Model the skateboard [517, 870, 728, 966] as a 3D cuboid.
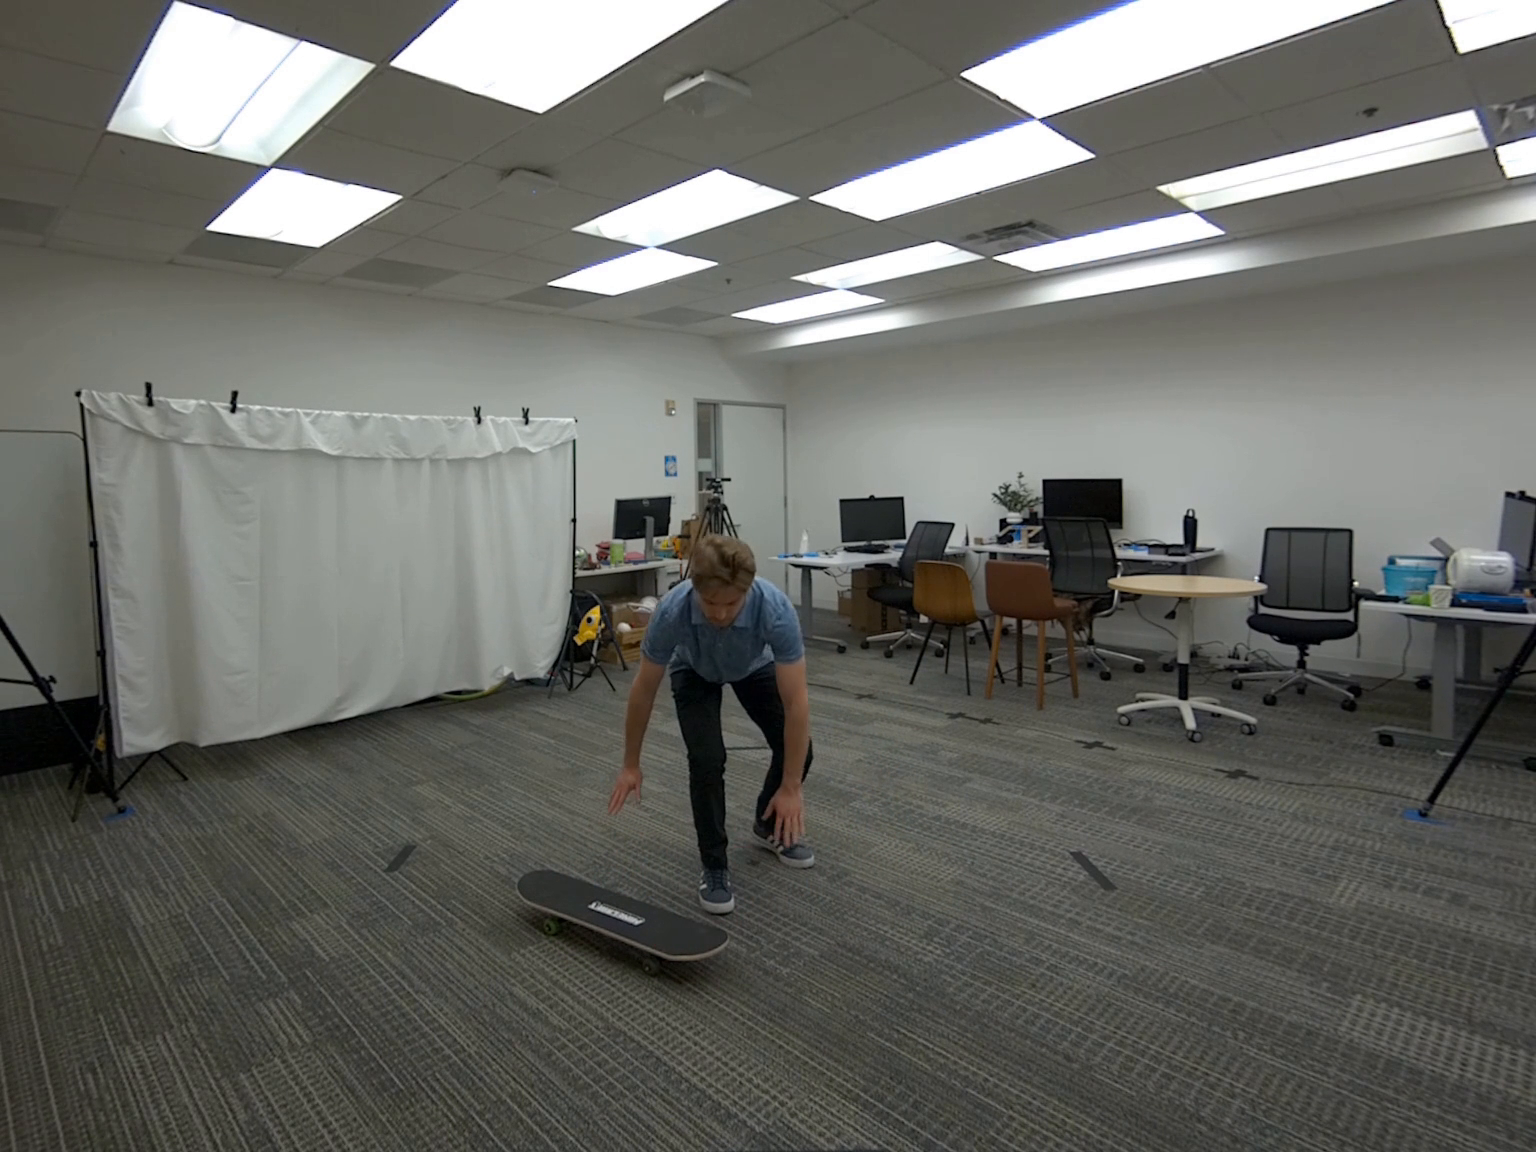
[{"bbox_3d":[-0.455,1.056,2.591,0.807,0.110,0.189,3,8,33],"label":"skateboard"}]
